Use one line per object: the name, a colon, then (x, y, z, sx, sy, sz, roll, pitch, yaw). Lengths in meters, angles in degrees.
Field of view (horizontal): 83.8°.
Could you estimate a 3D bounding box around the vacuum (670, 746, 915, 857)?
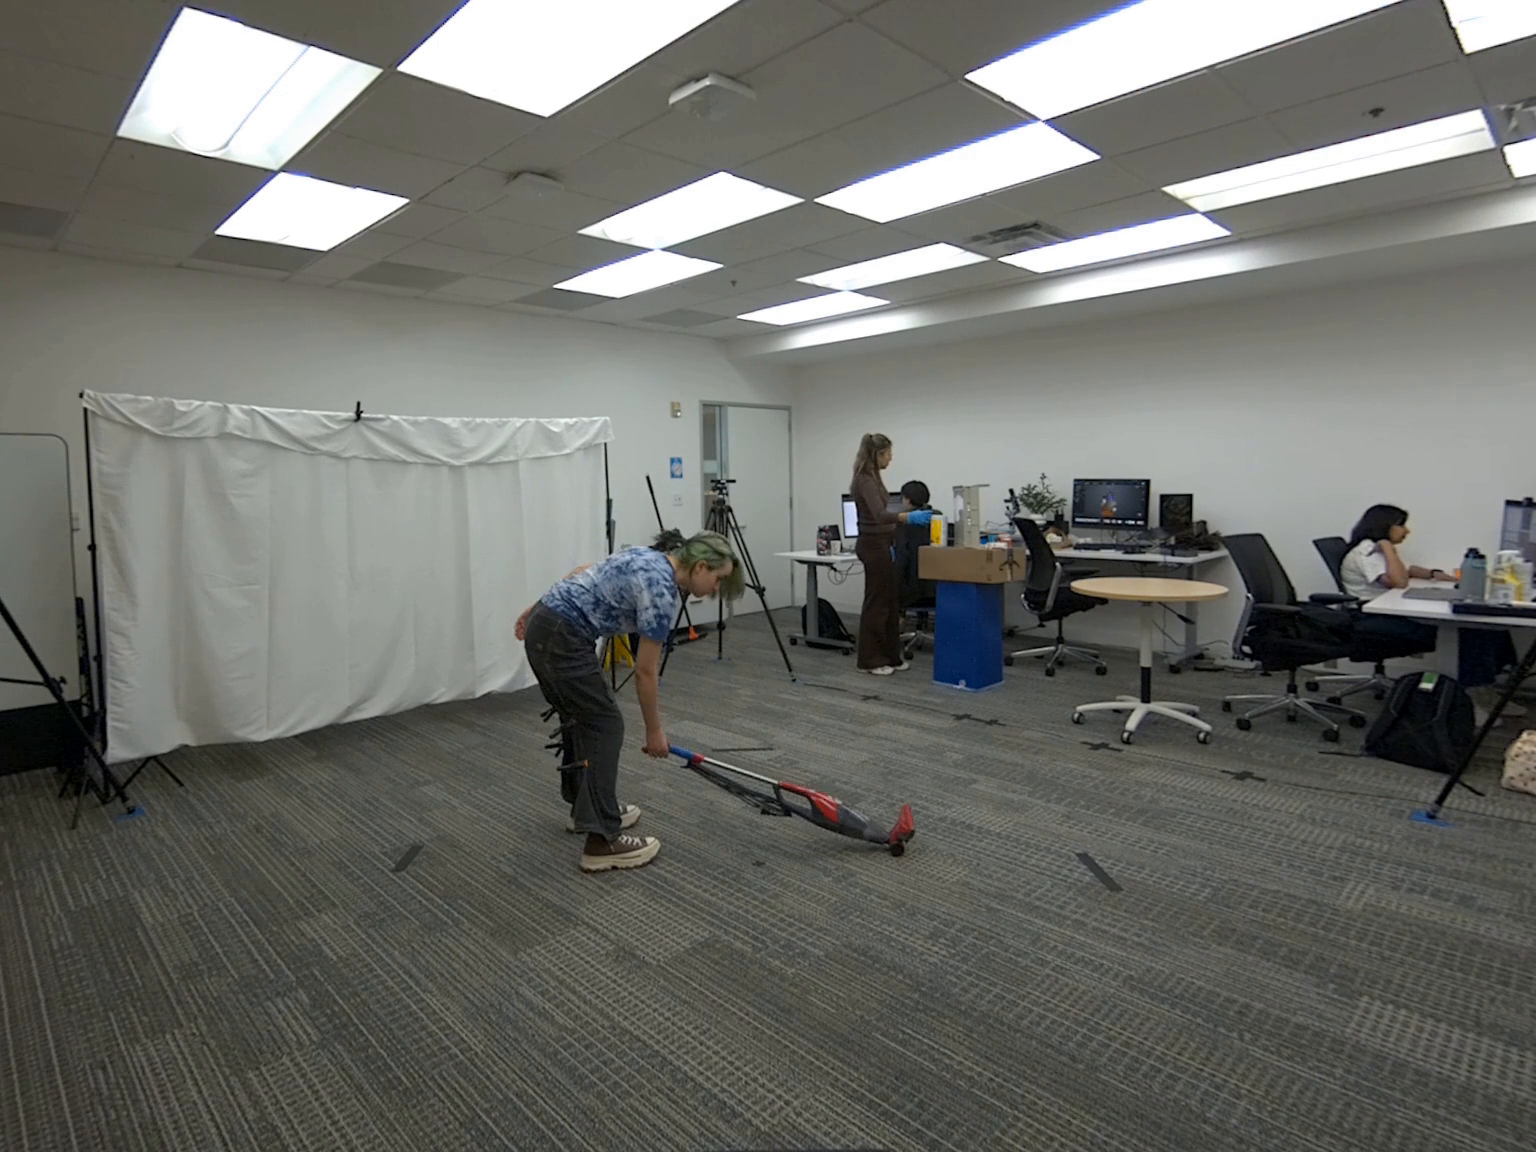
vacuum: (0.012, 0.830, 3.276, 1.057, 0.143, 0.251, 15, 6, 6)
